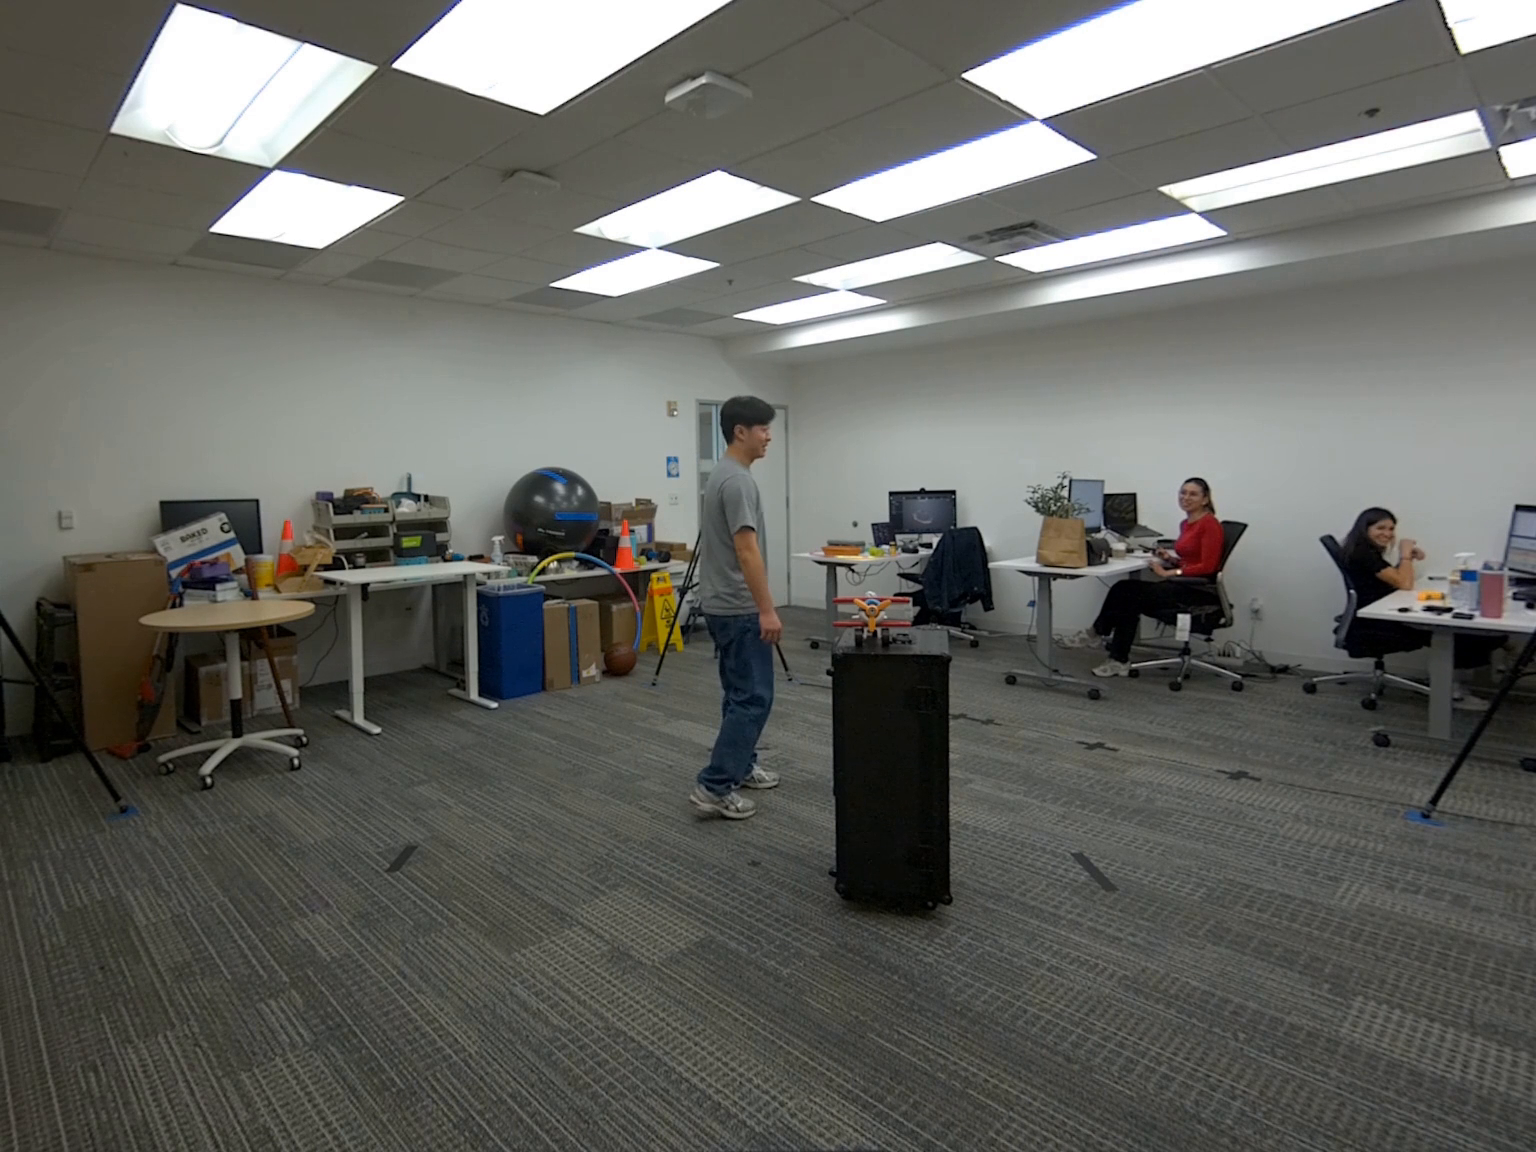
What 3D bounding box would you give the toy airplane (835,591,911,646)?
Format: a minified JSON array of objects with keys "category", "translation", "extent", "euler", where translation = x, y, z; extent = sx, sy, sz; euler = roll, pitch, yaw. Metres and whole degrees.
[{"category":"toy airplane","translation":[0.334,0.138,2.861],"extent":[0.246,0.155,0.266],"euler":[-3,7,-22]}]
